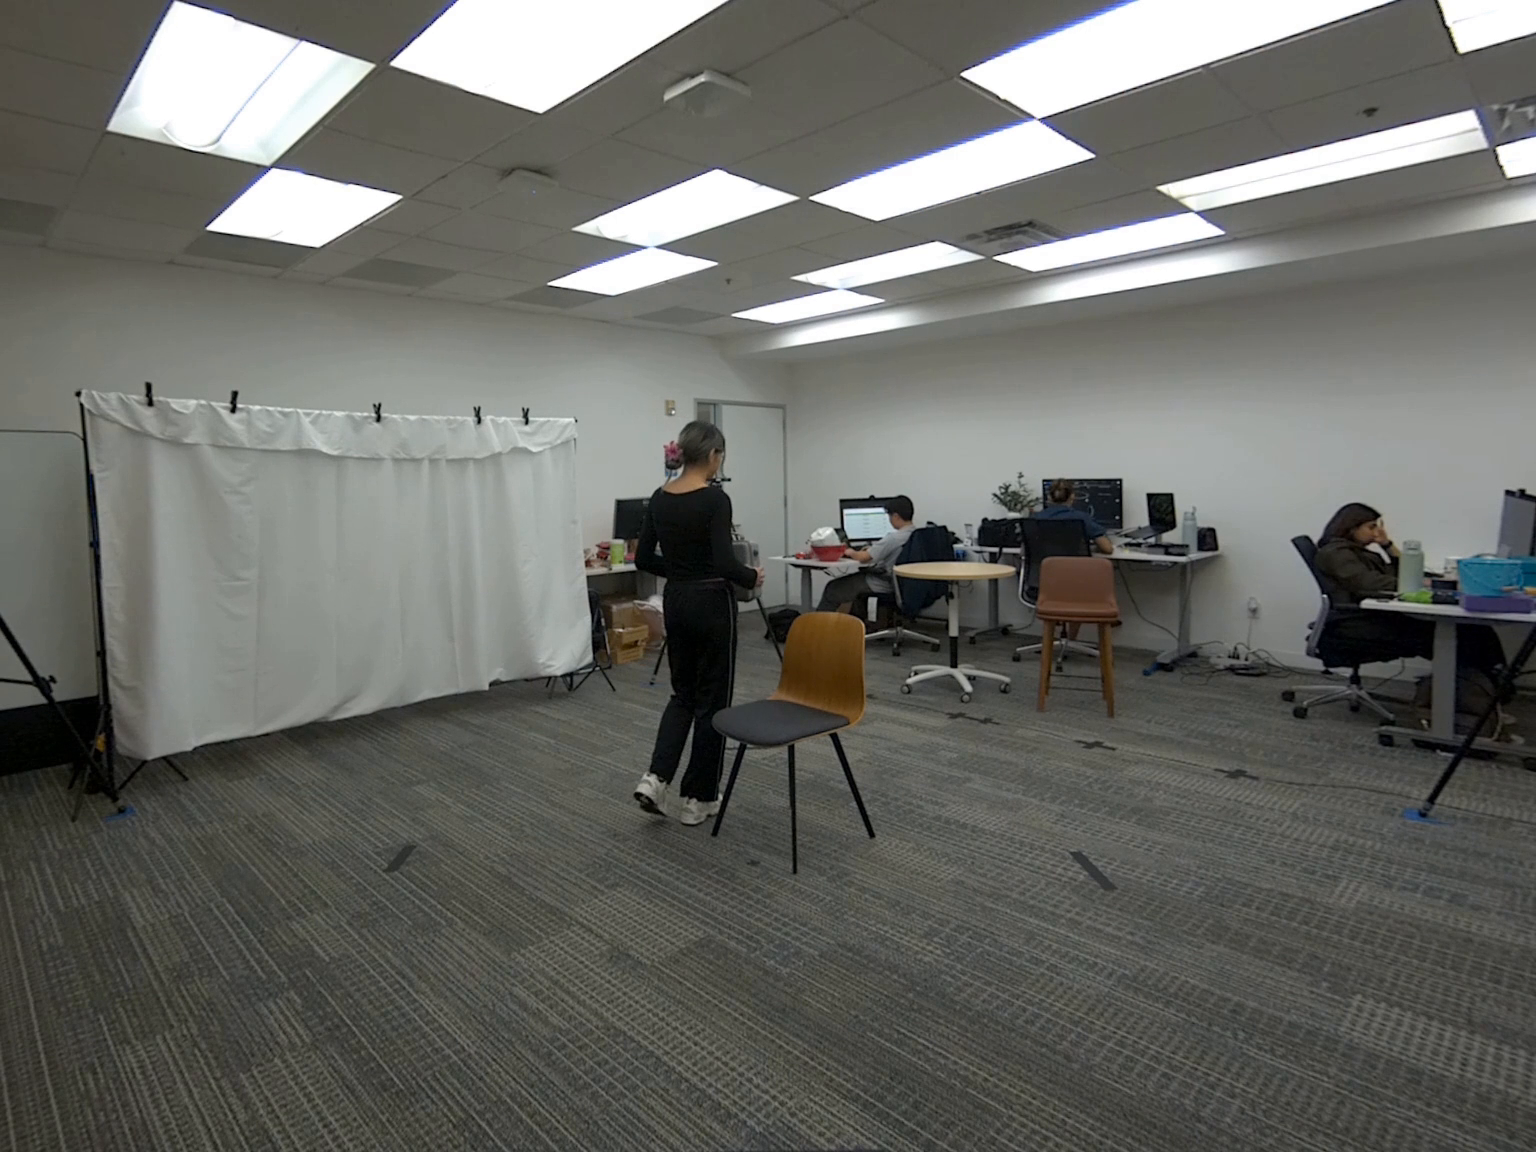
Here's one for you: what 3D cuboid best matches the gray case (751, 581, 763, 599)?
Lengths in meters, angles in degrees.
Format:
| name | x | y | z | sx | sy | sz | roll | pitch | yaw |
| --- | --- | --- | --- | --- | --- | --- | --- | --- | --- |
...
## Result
| name | x | y | z | sx | sy | sz | roll | pitch | yaw |
| --- | --- | --- | --- | --- | --- | --- | --- | --- | --- |
| gray case | -0.165 | -0.025 | 3.671 | 0.264 | 0.261 | 0.101 | -2 | -1 | 43 |
